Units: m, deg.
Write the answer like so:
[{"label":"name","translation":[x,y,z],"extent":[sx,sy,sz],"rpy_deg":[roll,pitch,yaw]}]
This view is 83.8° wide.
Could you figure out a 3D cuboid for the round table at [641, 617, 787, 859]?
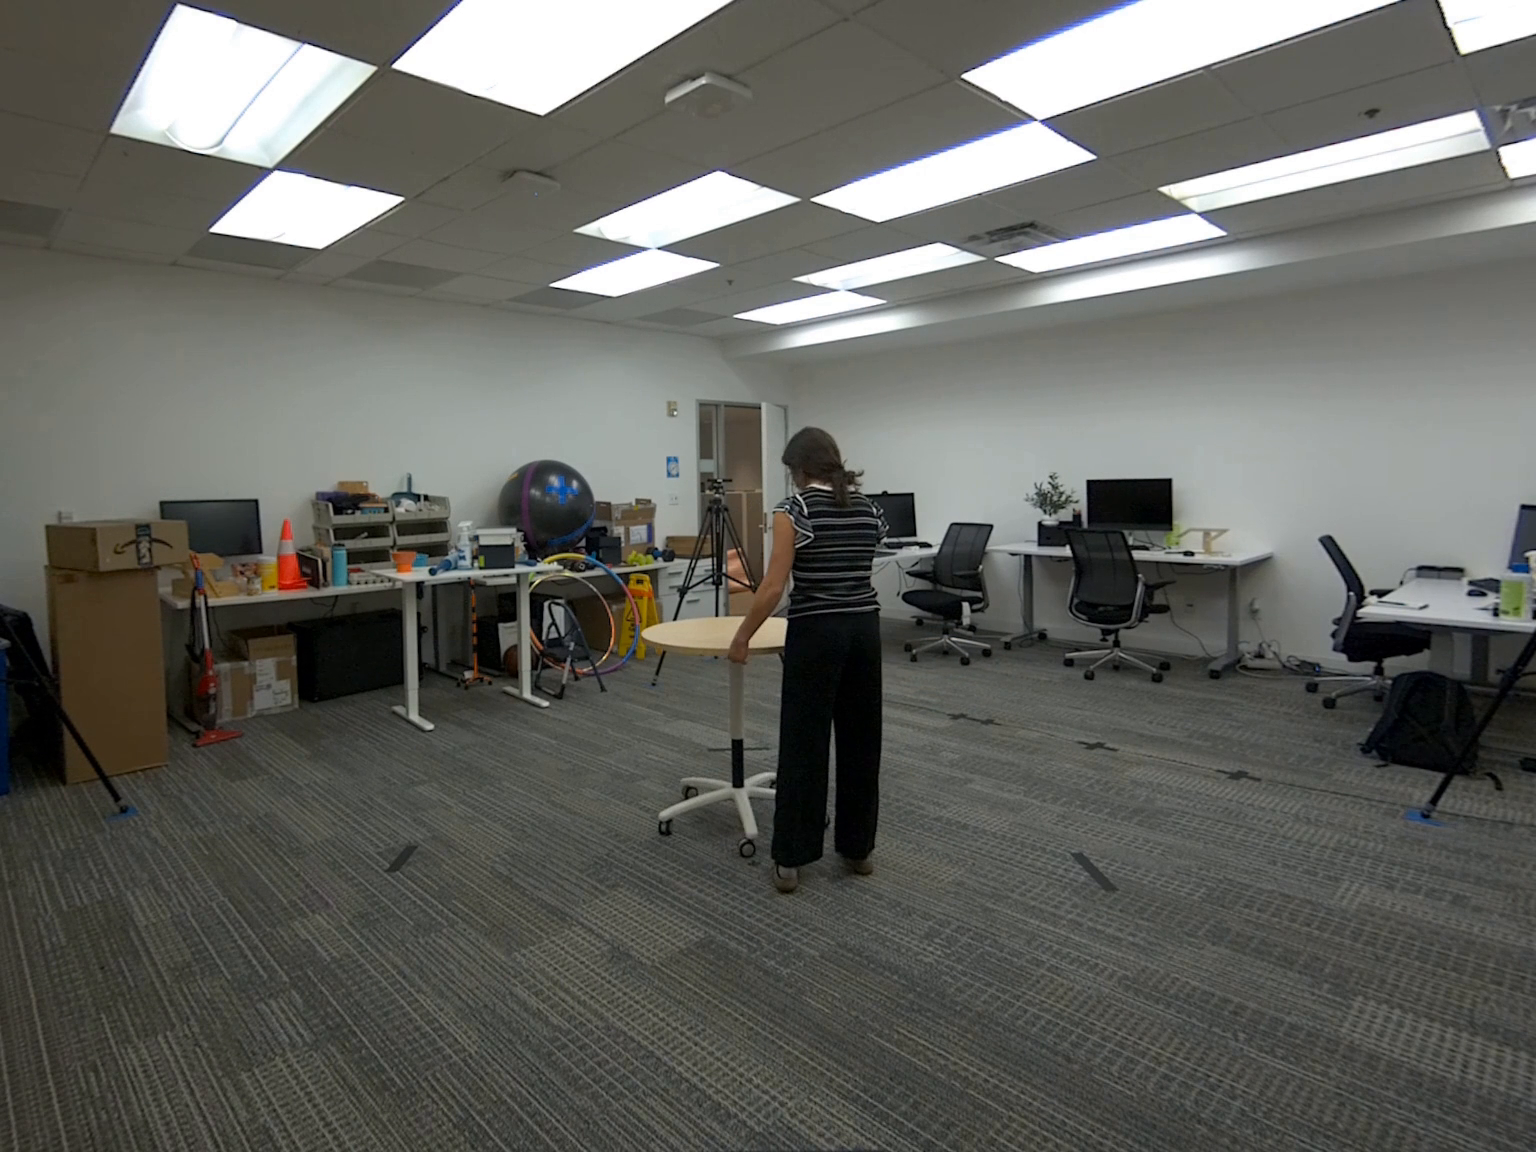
[{"label":"round table","translation":[-0.132,0.607,3.498],"extent":[0.784,0.784,0.789],"rpy_deg":[-1,4,-2]}]
